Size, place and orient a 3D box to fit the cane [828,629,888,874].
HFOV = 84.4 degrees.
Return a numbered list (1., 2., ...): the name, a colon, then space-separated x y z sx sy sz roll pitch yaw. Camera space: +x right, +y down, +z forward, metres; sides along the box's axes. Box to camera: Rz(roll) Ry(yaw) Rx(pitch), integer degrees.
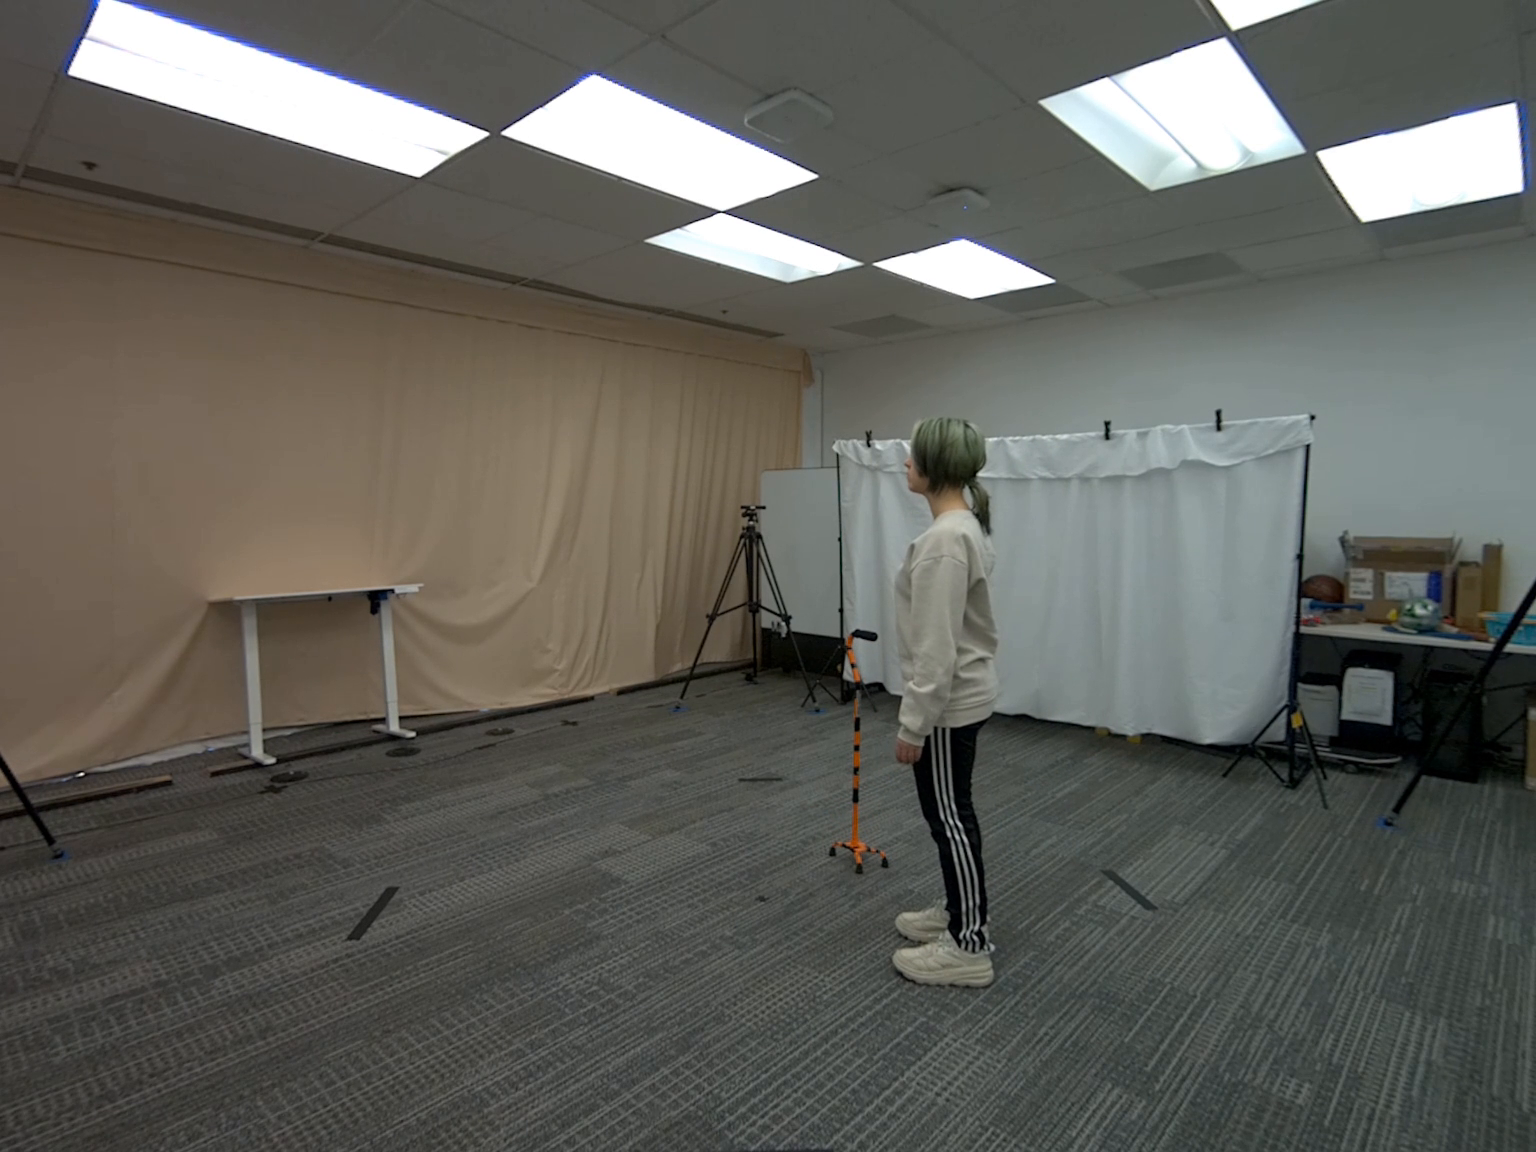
1. cane: 0.366 0.666 3.274 0.147 0.906 0.212 -1 3 -30
